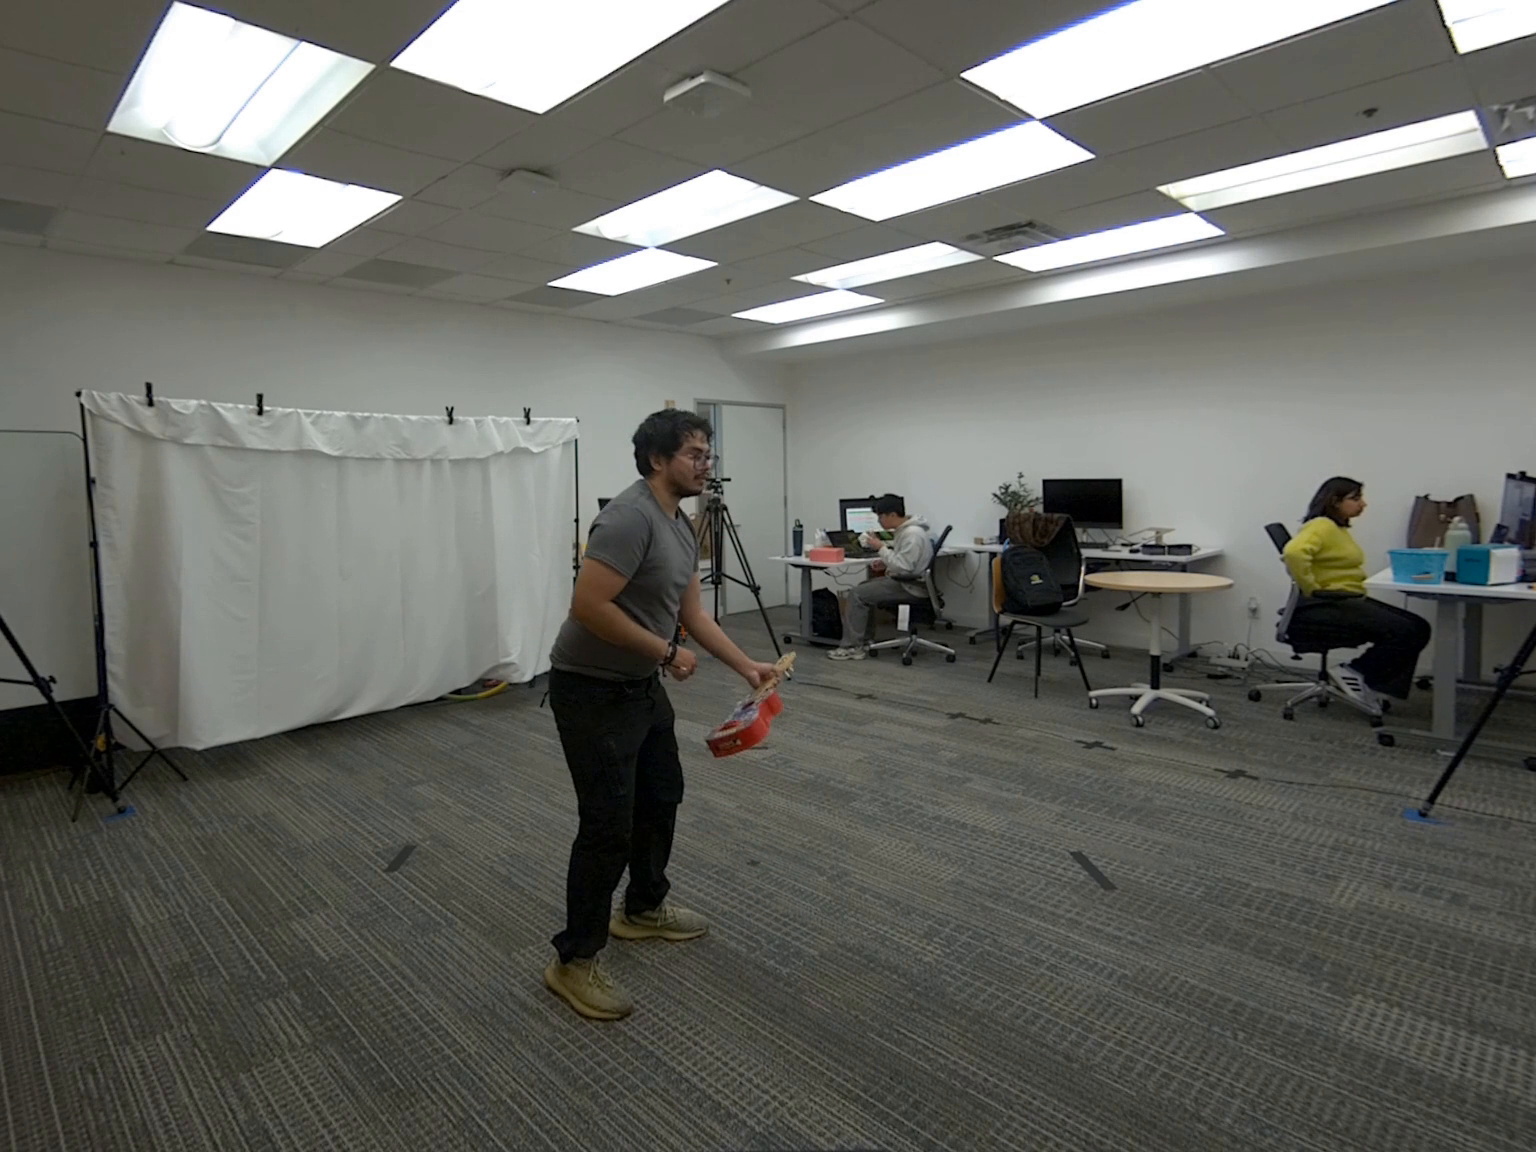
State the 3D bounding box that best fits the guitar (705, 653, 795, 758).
[{"bbox_3d":[0.002,0.379,2.595,0.196,0.070,0.495,-21,13,42],"label":"guitar"}]
